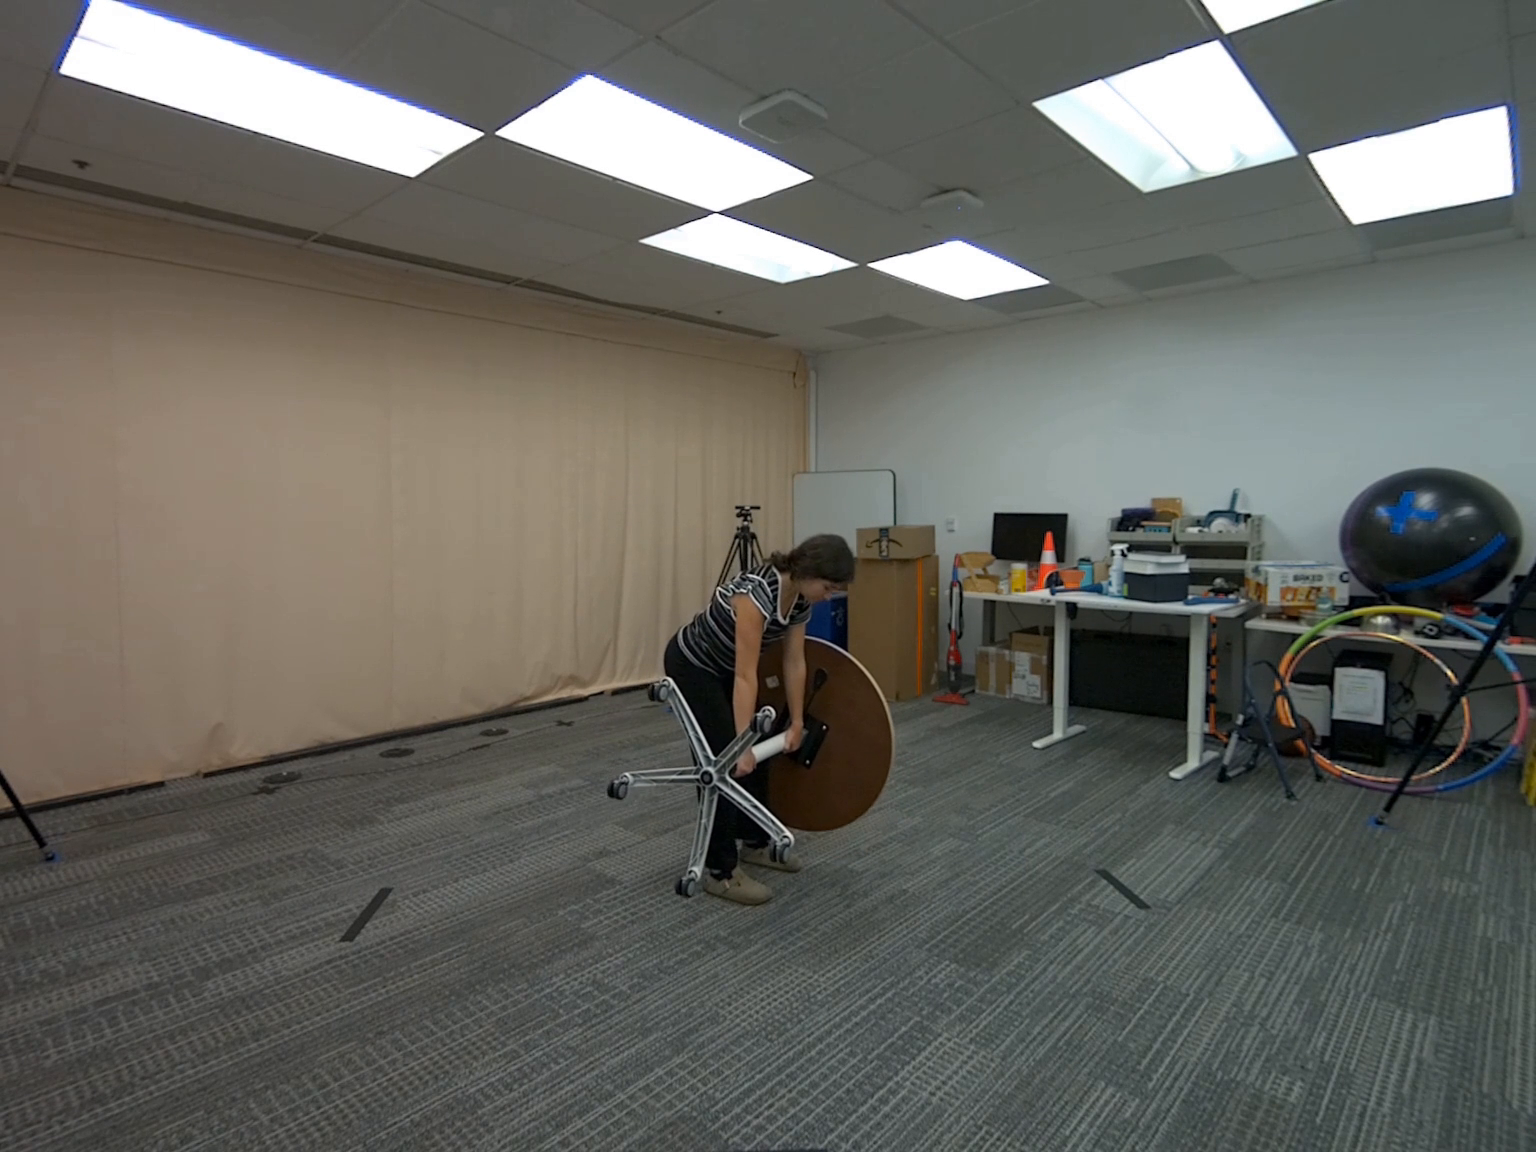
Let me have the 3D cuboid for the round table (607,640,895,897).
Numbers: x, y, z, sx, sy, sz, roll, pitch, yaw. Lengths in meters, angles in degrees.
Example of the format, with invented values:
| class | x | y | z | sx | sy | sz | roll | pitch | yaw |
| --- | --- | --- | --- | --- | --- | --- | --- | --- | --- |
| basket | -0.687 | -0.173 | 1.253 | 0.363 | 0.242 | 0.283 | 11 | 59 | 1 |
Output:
| class | x | y | z | sx | sy | sz | roll | pitch | yaw |
| --- | --- | --- | --- | --- | --- | --- | --- | --- | --- |
| round table | -0.051 | 0.651 | 2.996 | 0.786 | 0.762 | 0.773 | 2 | 4 | 30 |
